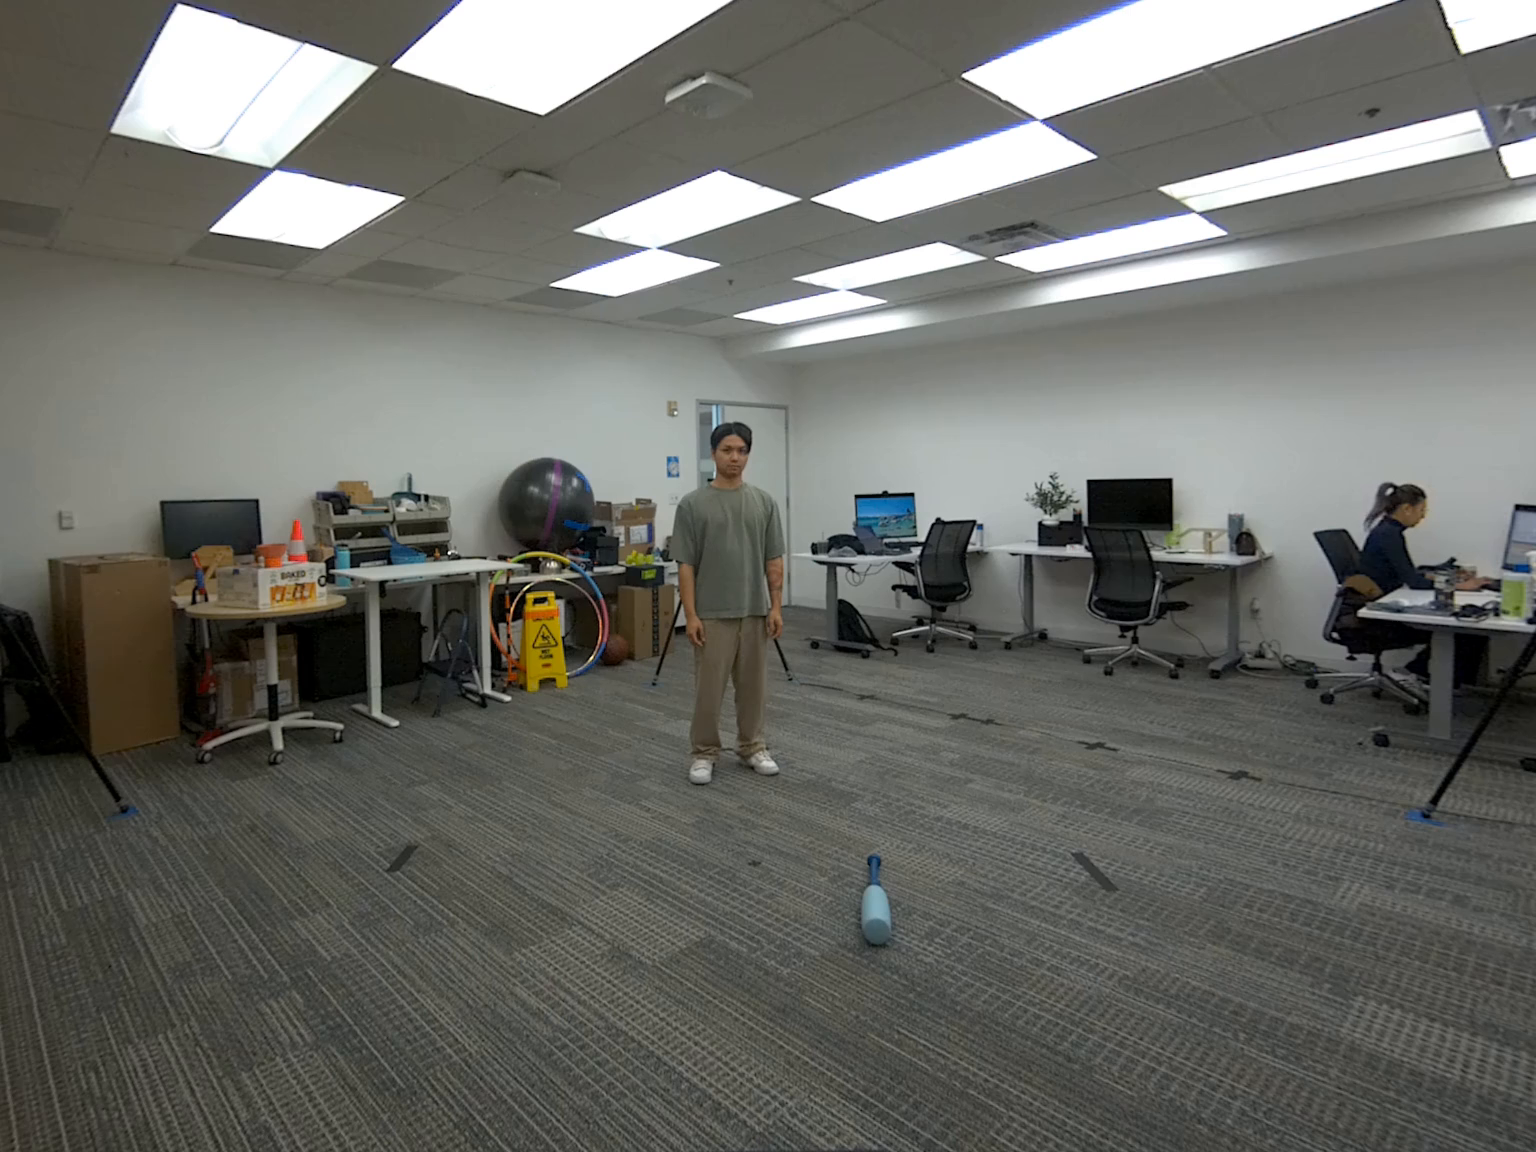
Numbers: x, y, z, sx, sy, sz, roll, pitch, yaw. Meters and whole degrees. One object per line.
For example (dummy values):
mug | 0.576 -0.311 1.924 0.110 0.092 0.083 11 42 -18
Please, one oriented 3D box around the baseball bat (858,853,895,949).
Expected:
baseball bat | 0.353 1.037 2.795 0.090 0.089 0.539 0 3 6
